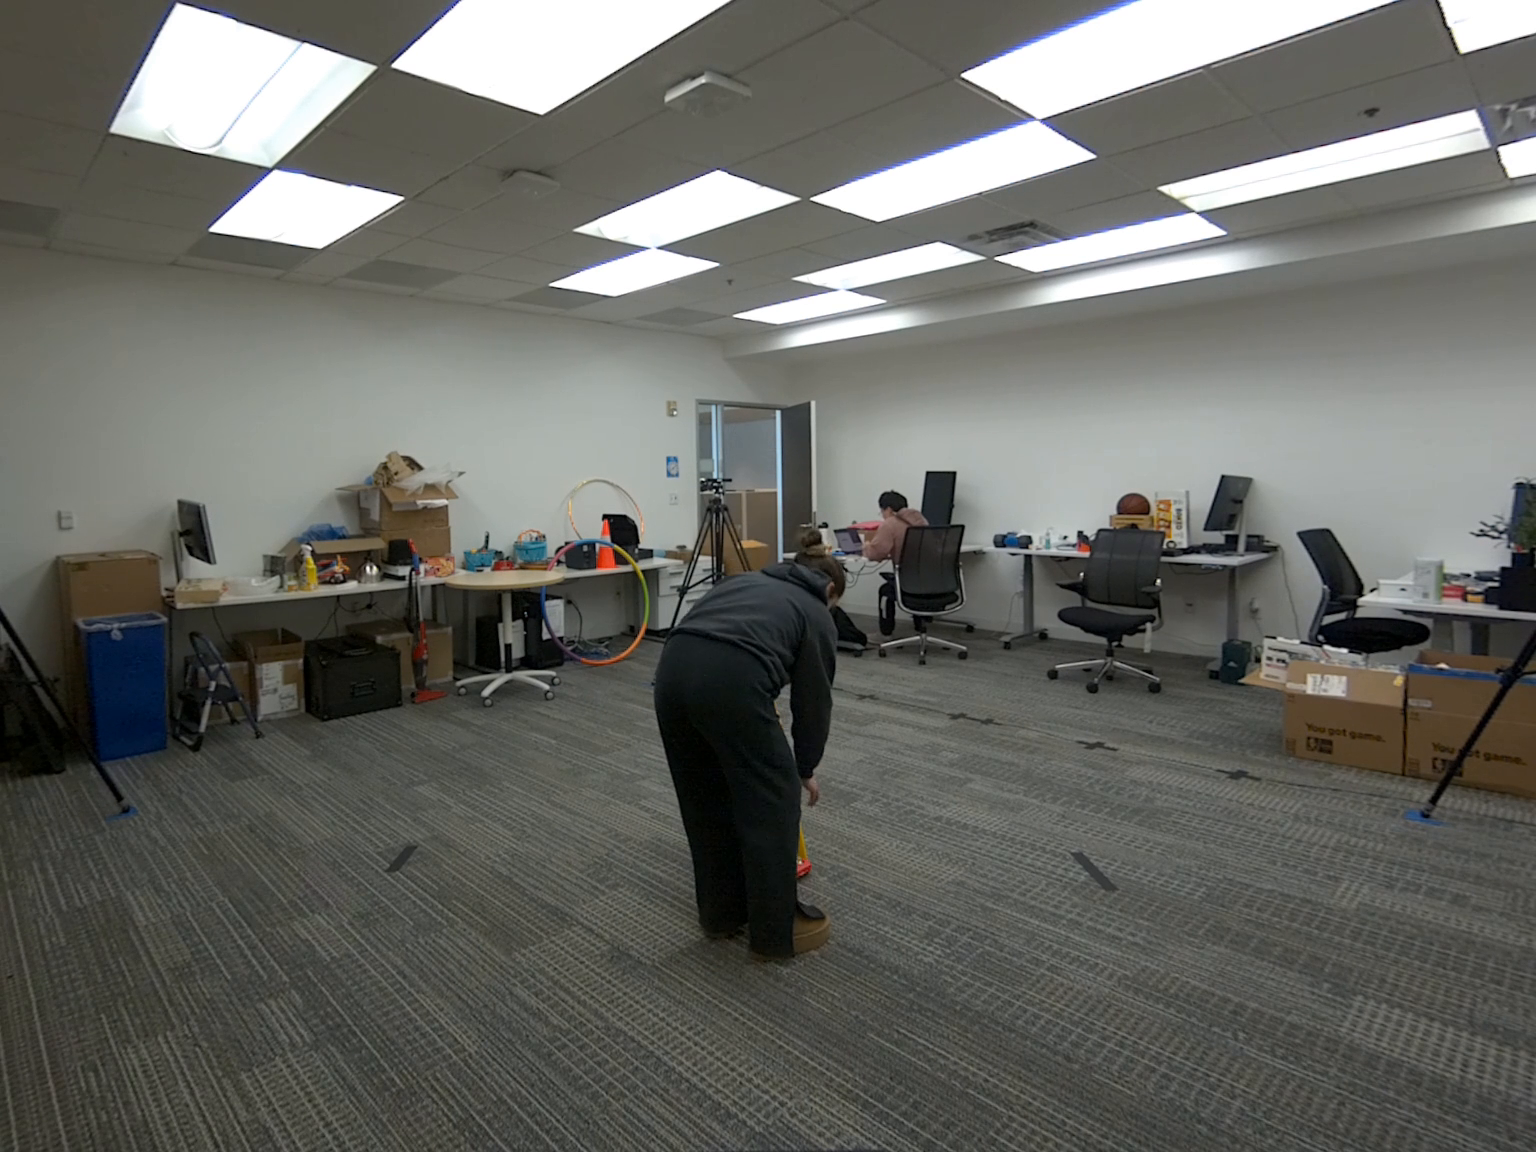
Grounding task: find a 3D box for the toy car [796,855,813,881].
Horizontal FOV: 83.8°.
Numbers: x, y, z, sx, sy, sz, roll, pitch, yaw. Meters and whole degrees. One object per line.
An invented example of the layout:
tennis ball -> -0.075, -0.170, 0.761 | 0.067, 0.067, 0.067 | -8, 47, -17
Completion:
toy car -> 0.019, 1.025, 3.019 | 0.263, 0.082, 0.127 | 16, 13, 39
